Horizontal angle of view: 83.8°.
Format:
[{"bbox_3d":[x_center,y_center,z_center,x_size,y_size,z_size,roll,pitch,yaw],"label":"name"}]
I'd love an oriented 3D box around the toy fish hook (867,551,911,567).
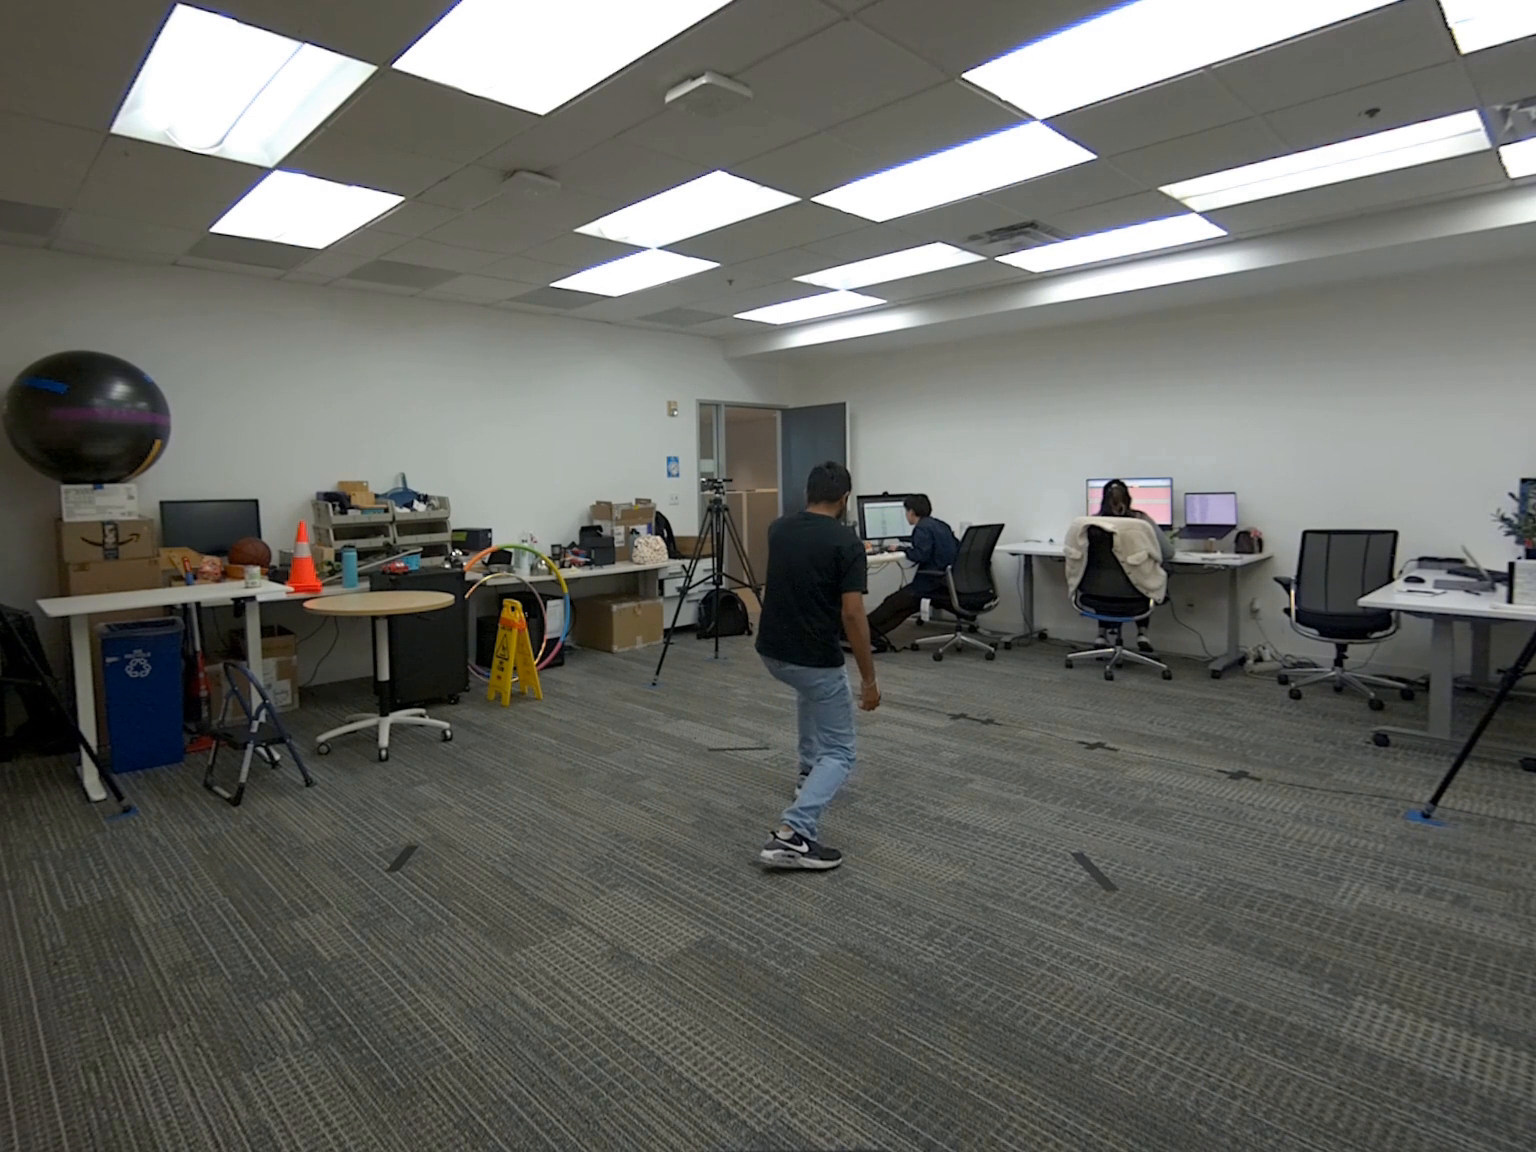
[{"bbox_3d":[0.408,-0.064,4.133,0.508,0.048,0.223,-6,-1,2],"label":"toy fish hook"}]
